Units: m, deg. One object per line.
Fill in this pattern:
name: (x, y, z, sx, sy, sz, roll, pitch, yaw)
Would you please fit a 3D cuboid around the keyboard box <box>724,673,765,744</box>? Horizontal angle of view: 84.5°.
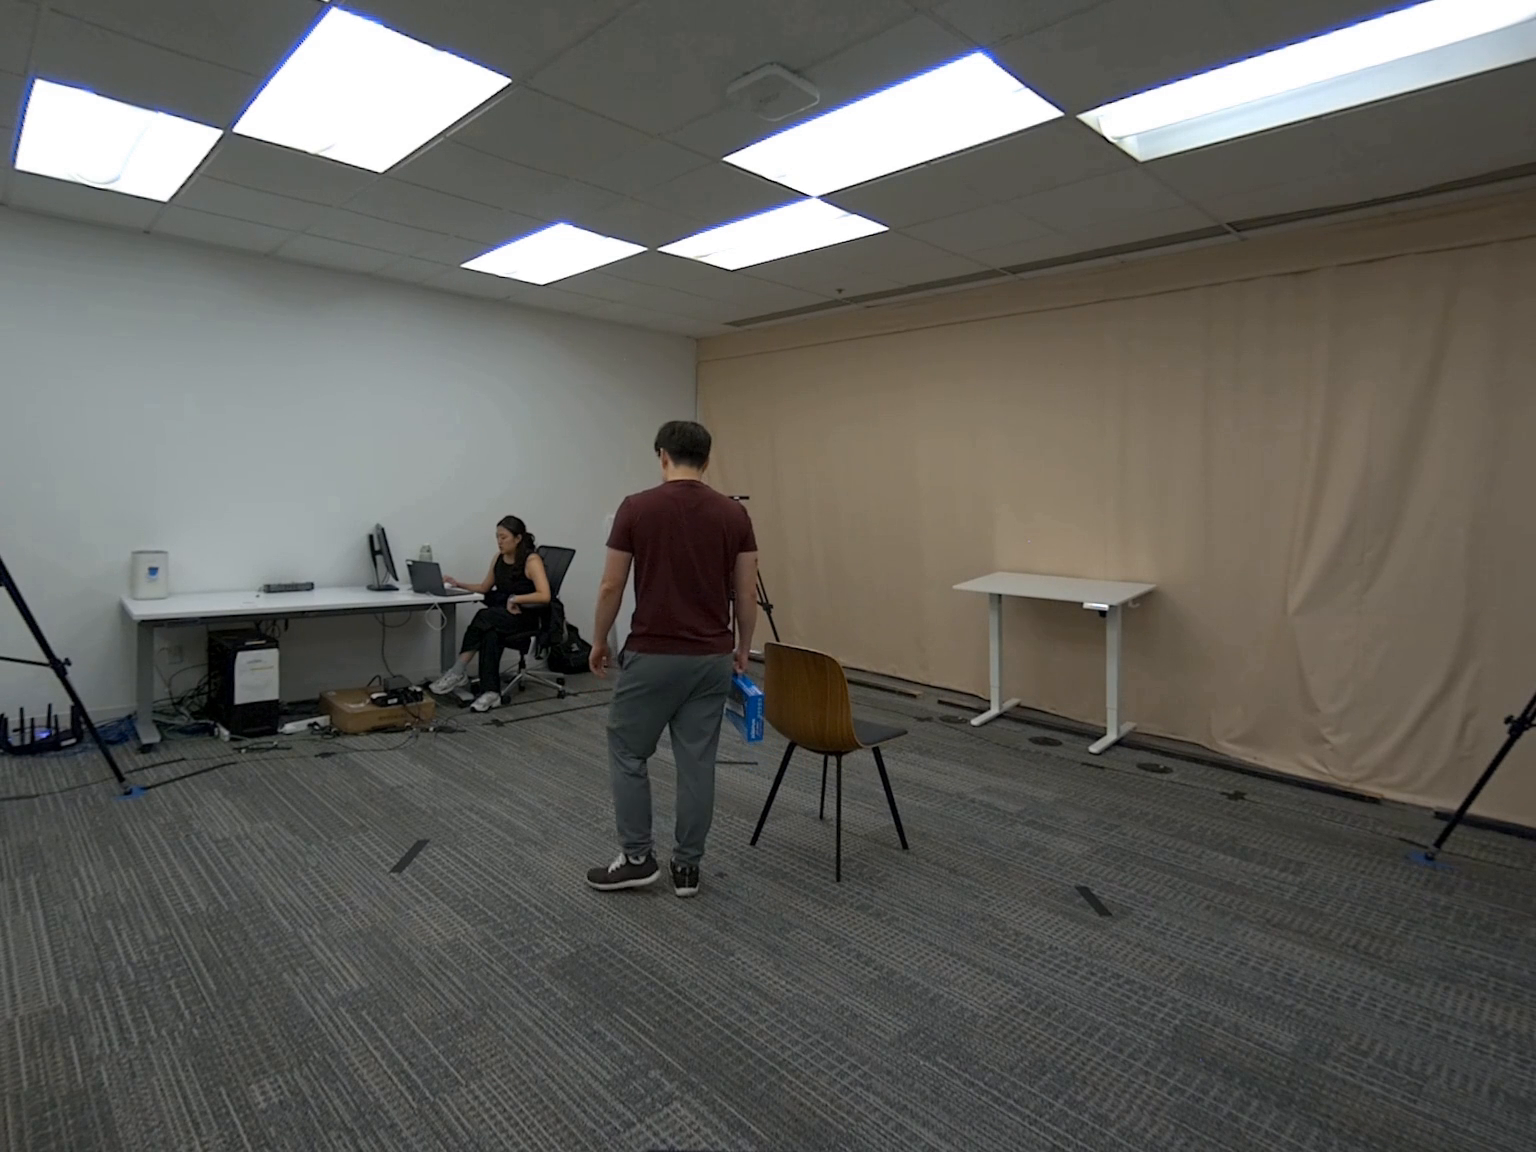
keyboard box: (-0.129, 0.452, 3.128, 0.058, 0.174, 0.447, -2, 12, -21)
